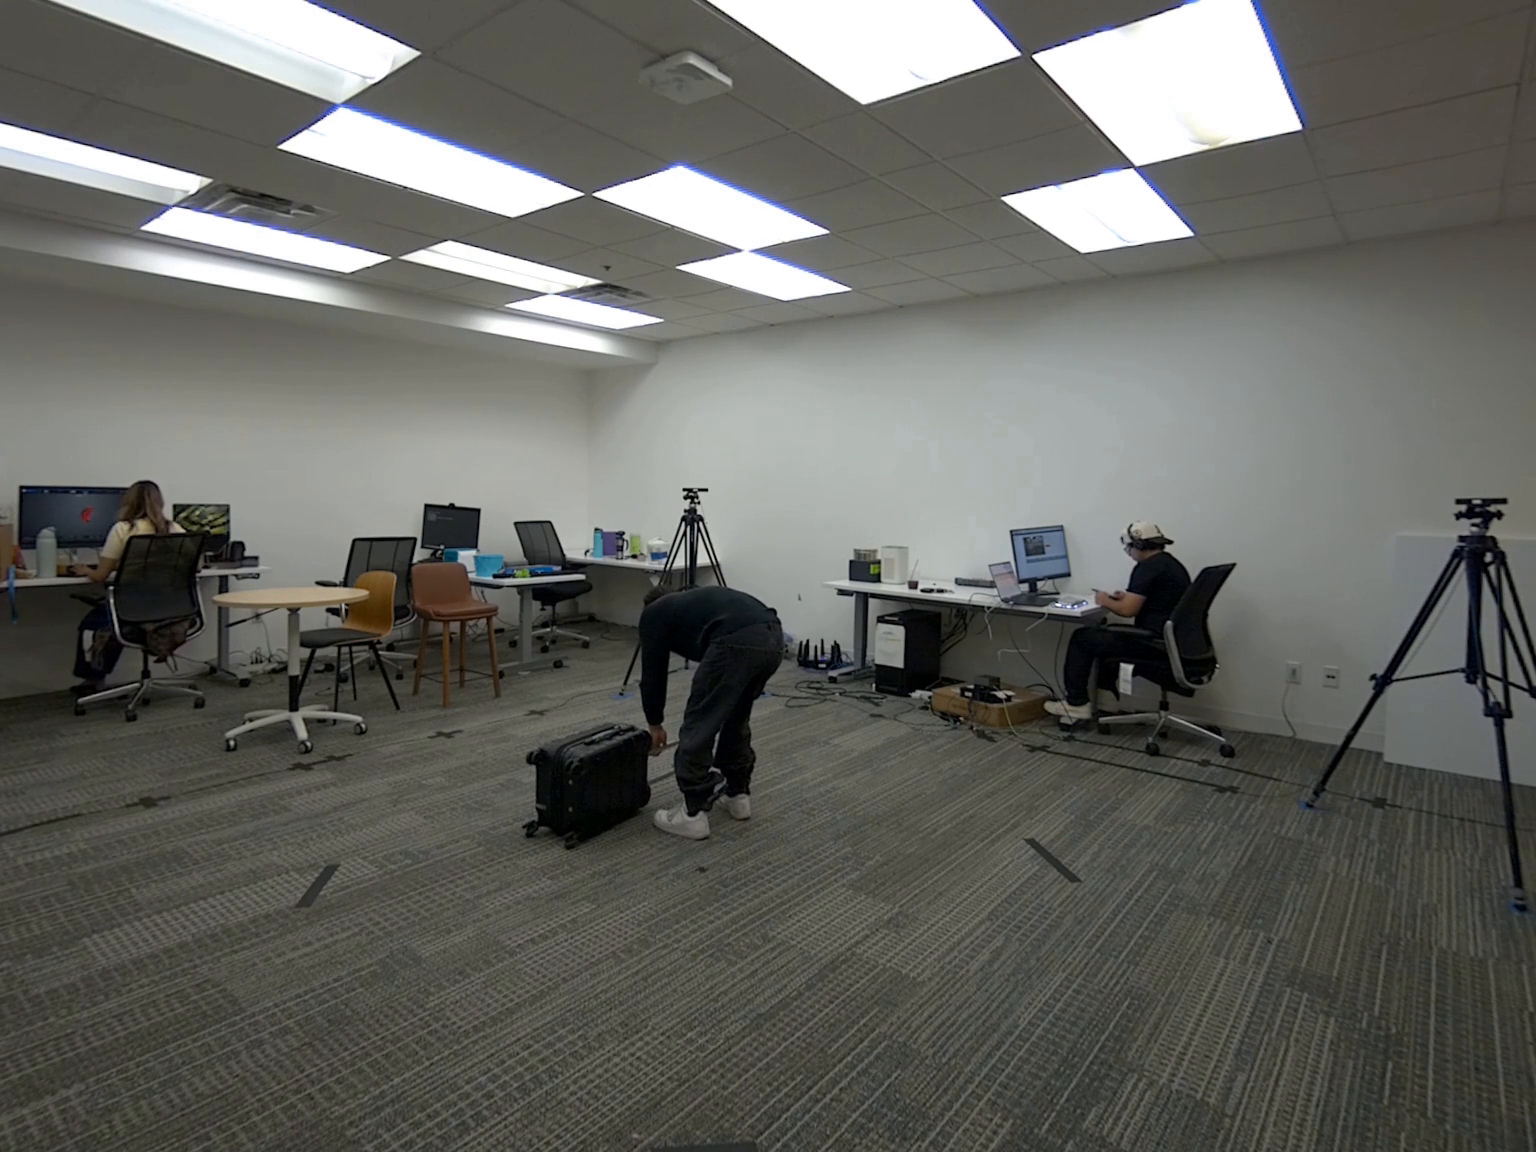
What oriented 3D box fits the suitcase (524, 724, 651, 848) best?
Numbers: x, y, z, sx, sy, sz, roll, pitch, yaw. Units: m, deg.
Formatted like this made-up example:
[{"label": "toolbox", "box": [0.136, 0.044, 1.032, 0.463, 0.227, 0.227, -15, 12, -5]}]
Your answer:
[{"label": "suitcase", "box": [-0.642, 0.823, 3.703, 0.264, 0.382, 0.954, 3, 6, 29]}]
